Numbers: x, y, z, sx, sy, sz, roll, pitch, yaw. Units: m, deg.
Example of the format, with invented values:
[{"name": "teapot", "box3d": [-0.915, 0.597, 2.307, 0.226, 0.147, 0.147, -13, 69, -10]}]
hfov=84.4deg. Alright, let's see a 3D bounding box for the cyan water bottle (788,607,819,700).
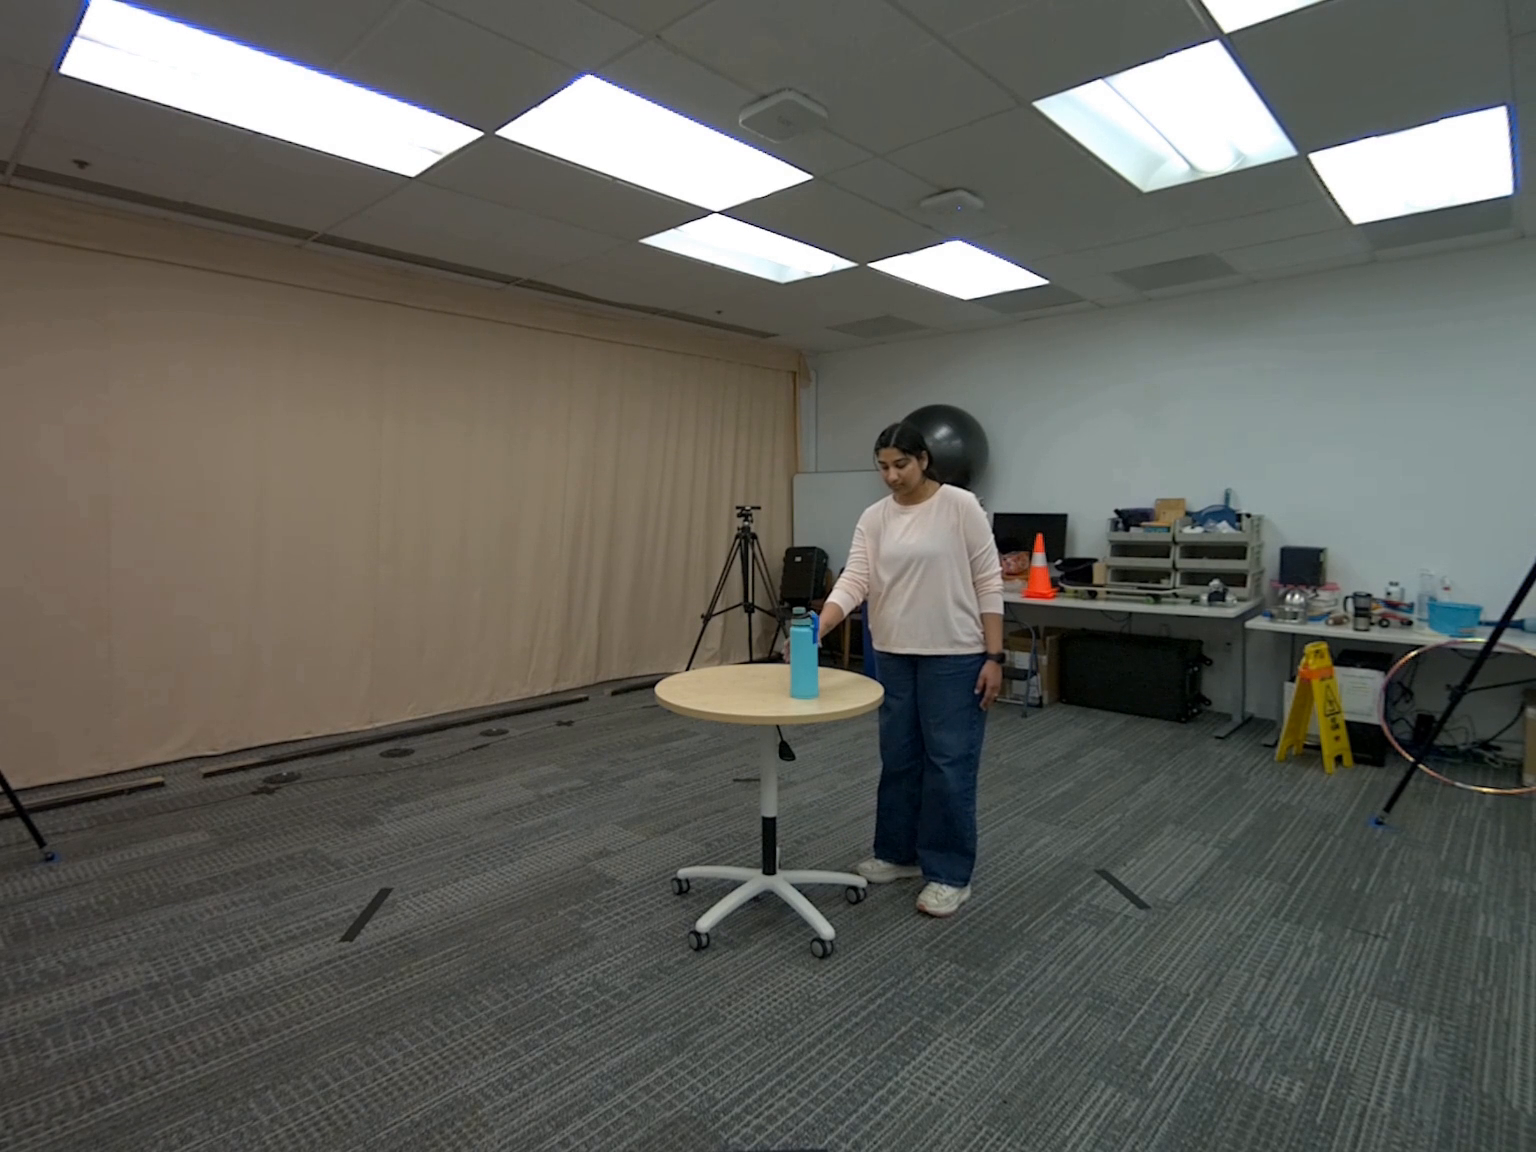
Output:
[{"name": "cyan water bottle", "box3d": [0.121, 0.248, 2.682, 0.092, 0.282, 0.093, 0, 5, -2]}]
